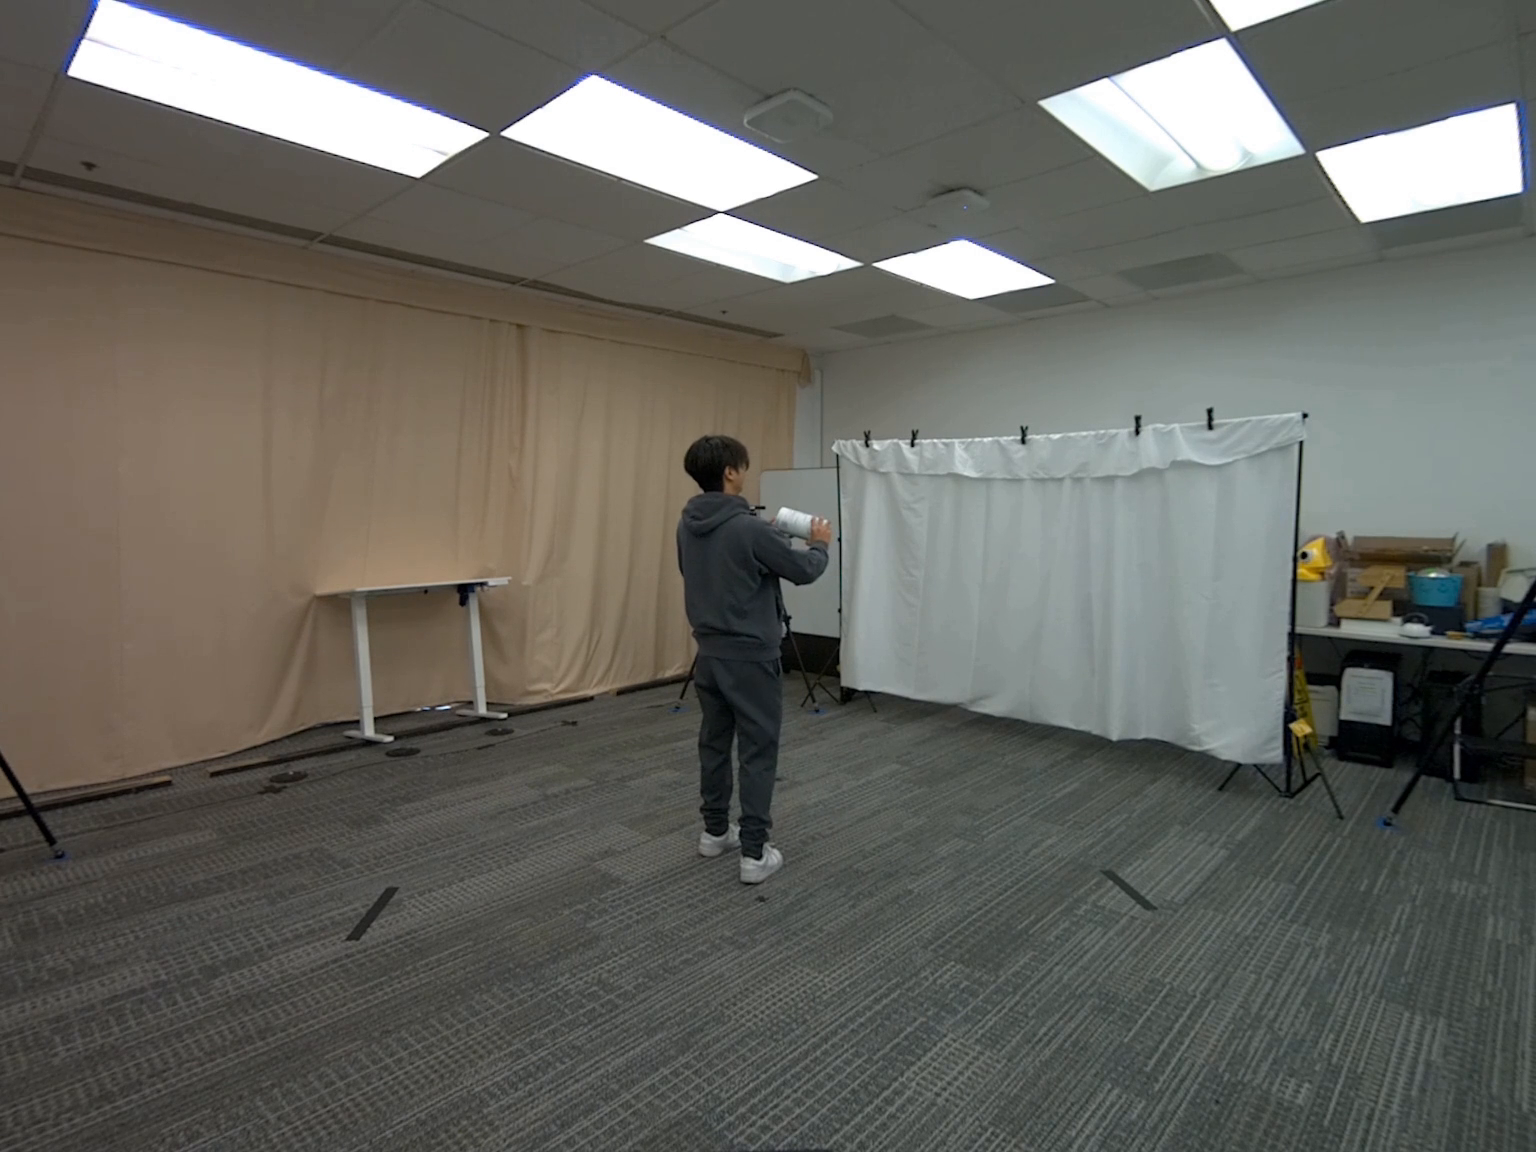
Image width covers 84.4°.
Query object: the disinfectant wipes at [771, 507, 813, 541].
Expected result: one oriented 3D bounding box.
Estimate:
[{"bbox_3d":[0.145,-0.210,3.558,0.222,0.117,0.116,18,9,16],"label":"disinfectant wipes"}]
